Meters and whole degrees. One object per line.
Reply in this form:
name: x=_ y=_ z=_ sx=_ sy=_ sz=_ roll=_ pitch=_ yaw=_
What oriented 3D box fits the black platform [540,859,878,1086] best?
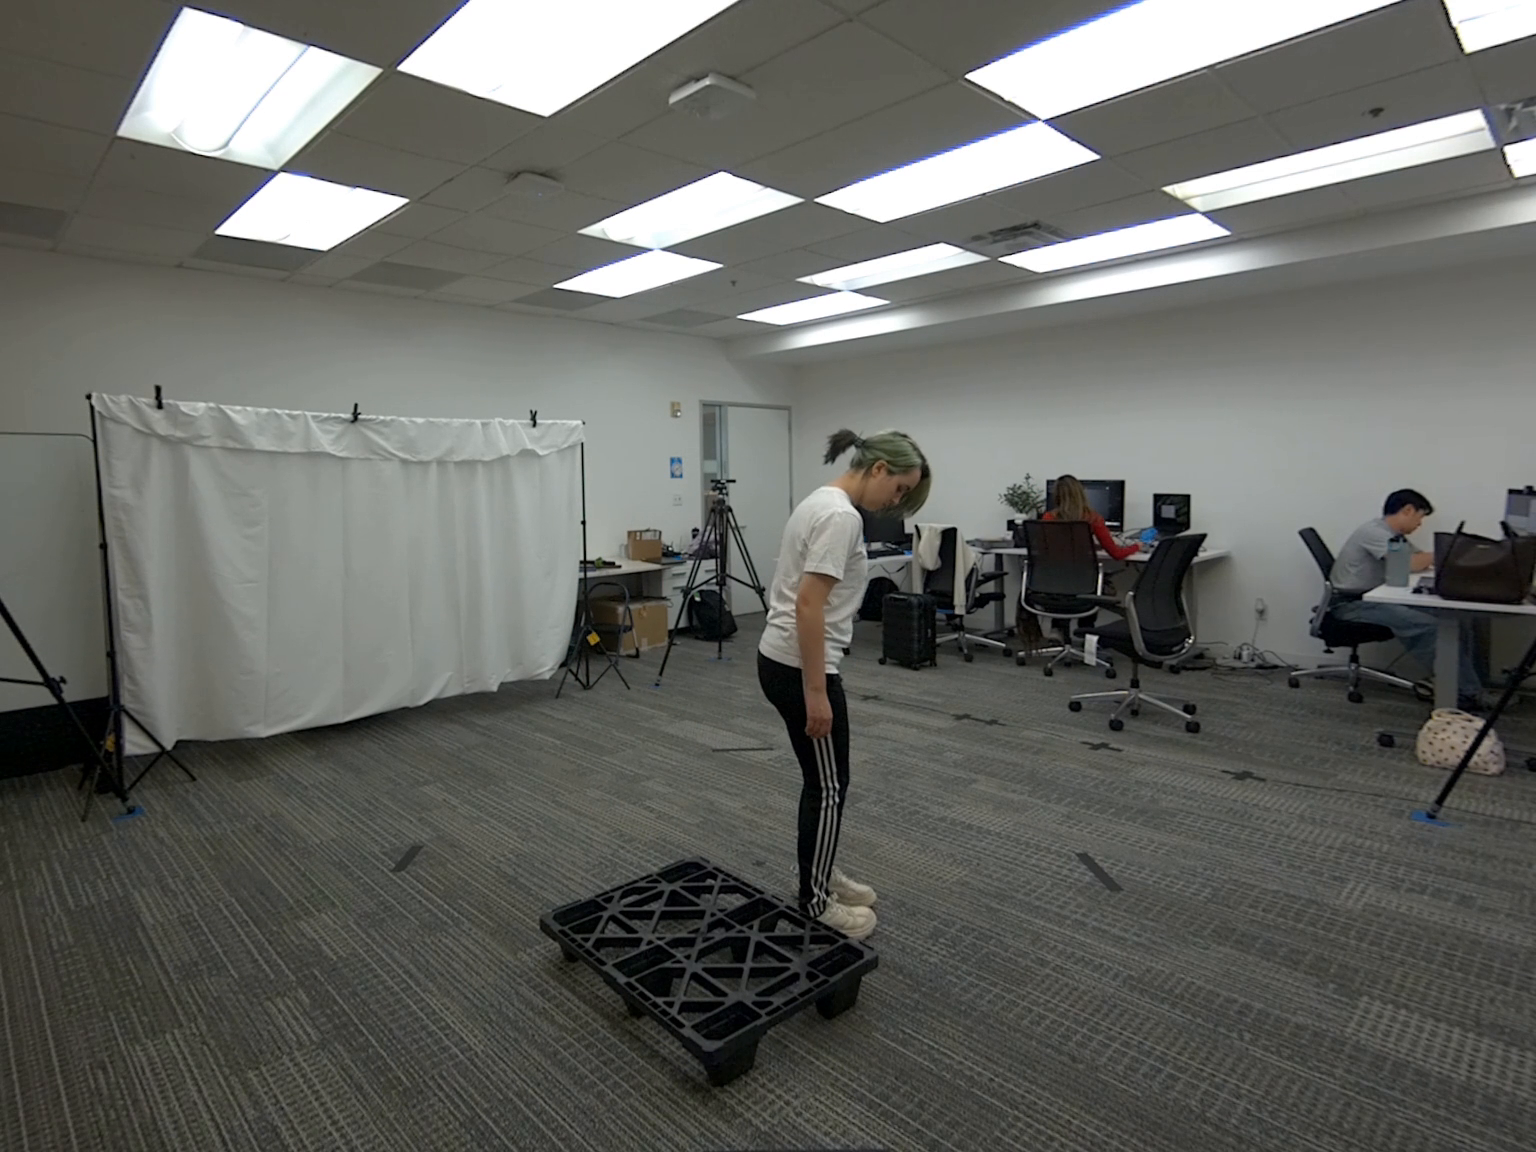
black platform: x=-0.184 y=1.068 z=2.398 sx=0.589 sy=0.142 sz=0.831 roll=-6 pitch=9 yaw=-41
